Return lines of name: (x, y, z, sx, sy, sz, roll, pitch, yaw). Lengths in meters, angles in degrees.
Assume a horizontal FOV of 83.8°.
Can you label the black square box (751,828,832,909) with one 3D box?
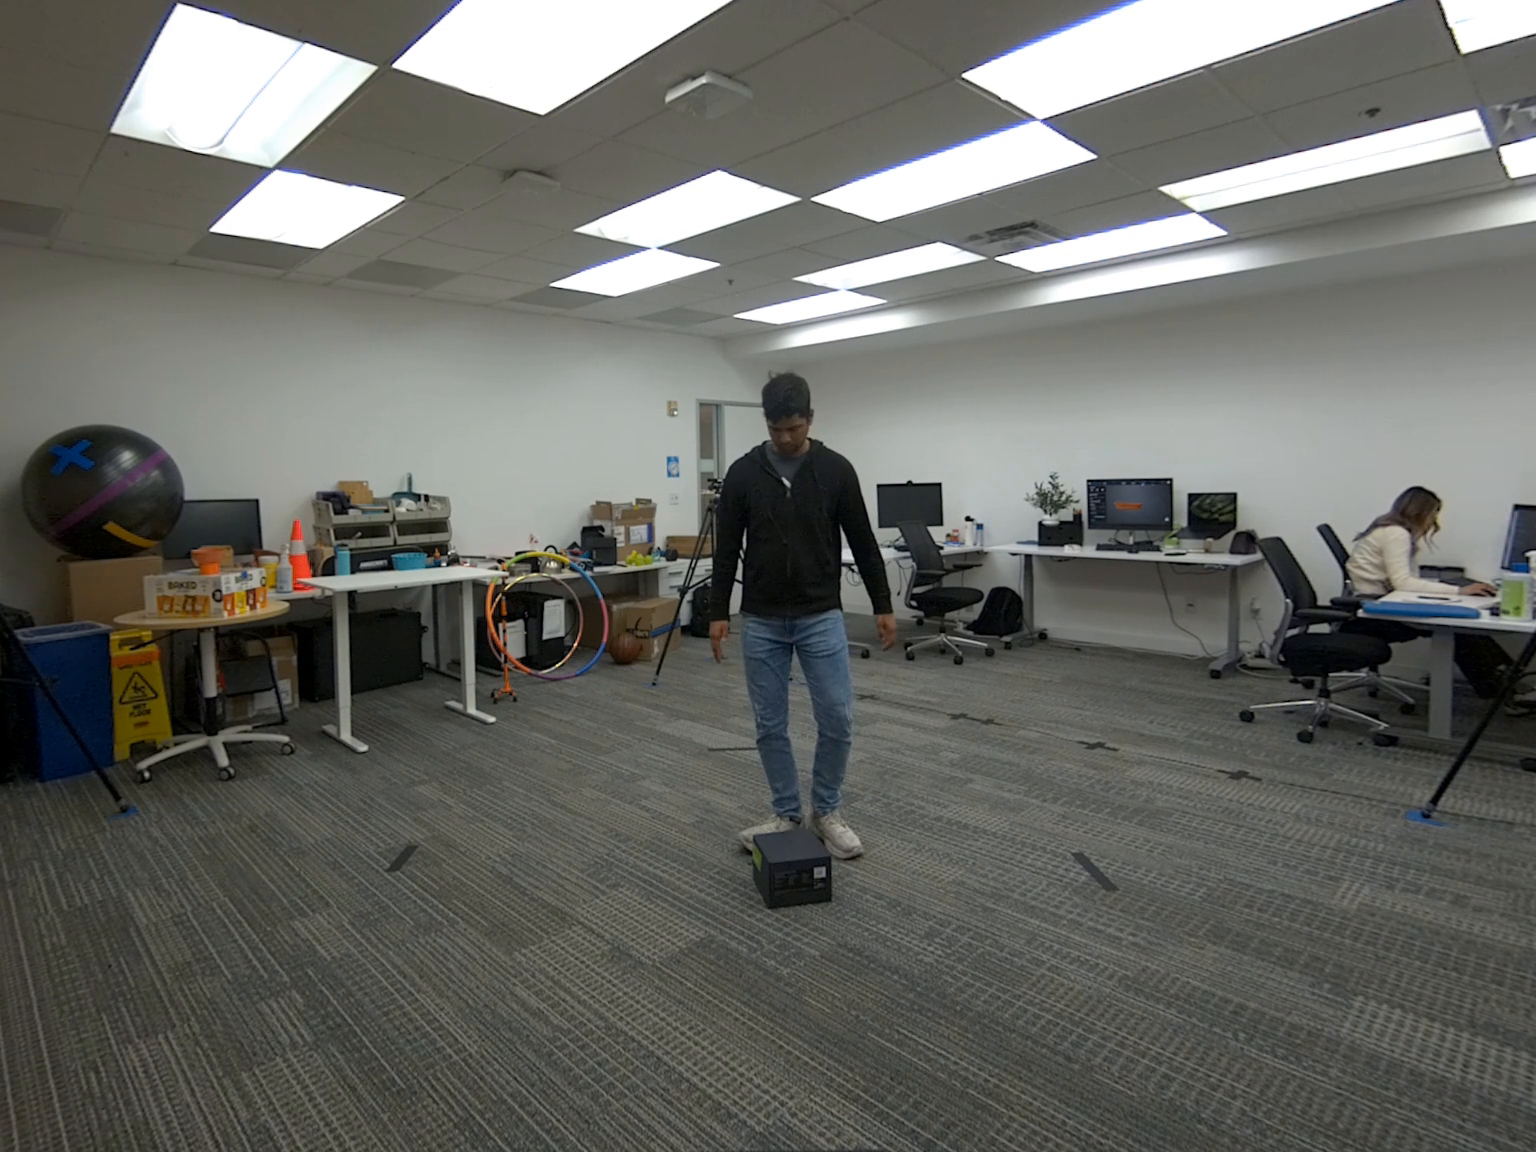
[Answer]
black square box: (0.078, 0.980, 2.897, 0.214, 0.155, 0.232, -3, 6, -14)
